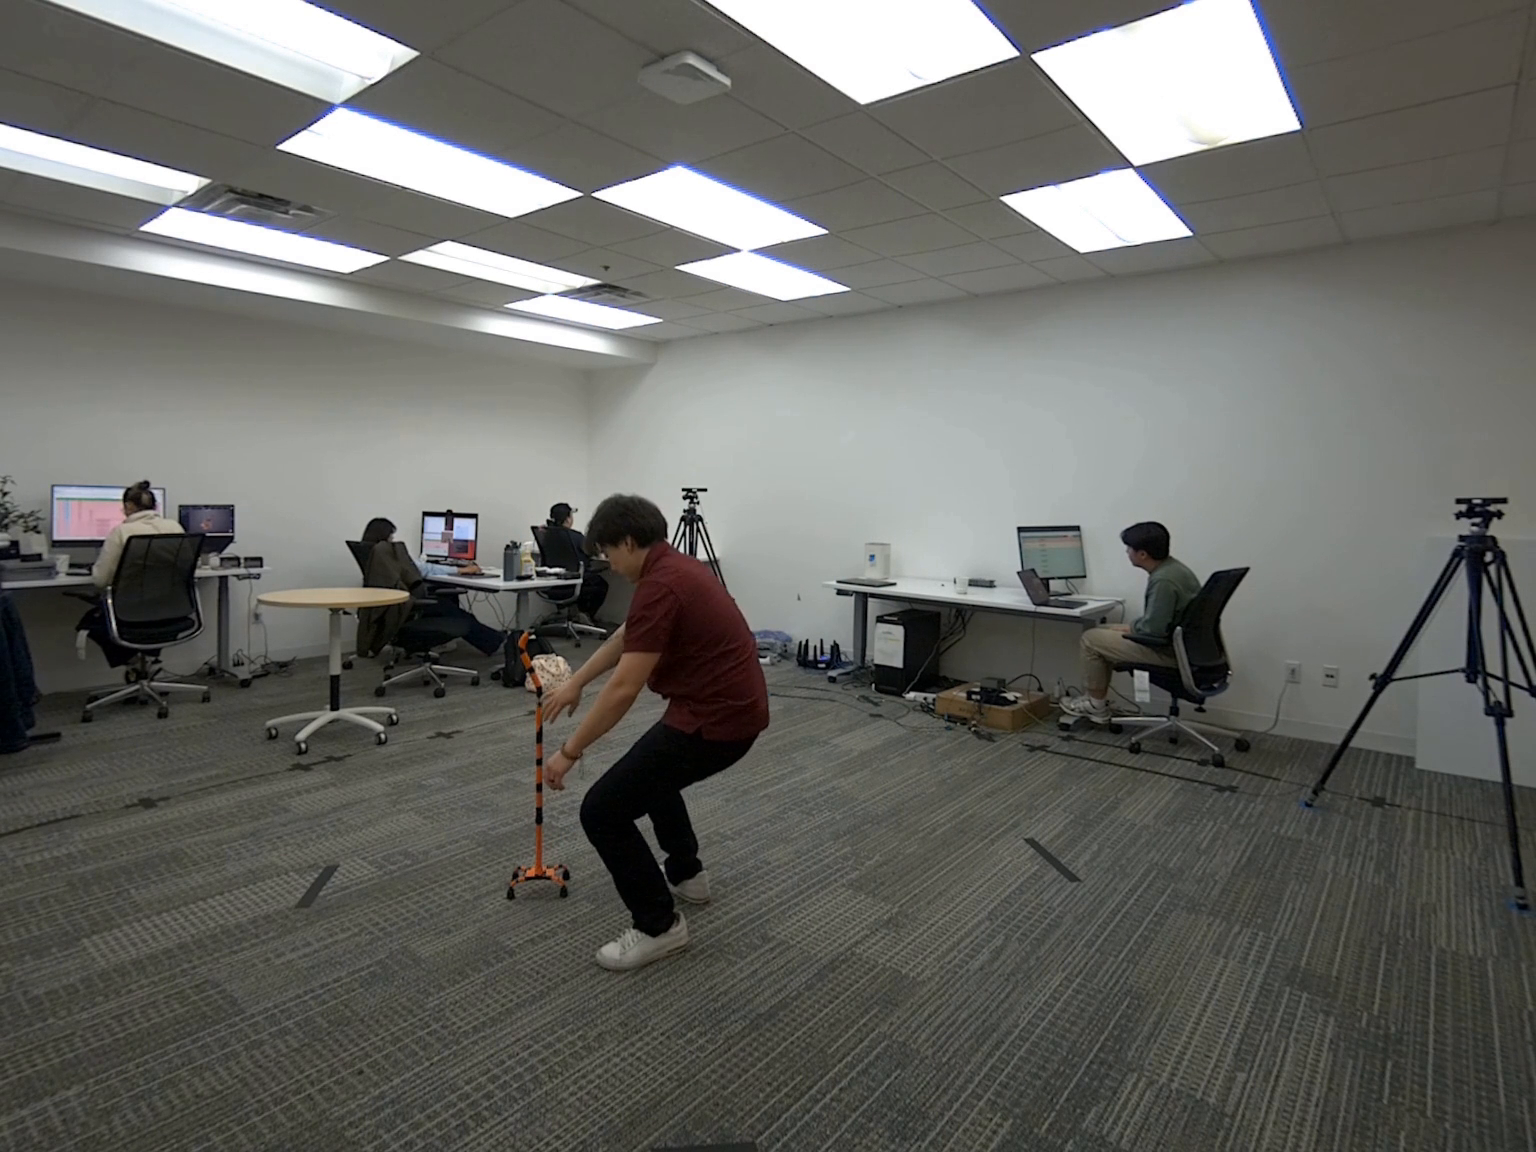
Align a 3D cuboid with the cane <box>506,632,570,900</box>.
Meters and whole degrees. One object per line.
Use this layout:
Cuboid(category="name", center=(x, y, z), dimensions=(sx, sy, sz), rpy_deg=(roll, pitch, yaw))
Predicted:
Cuboid(category="cane", center=(-0.797, 0.628, 2.914), dimensions=(0.205, 0.905, 0.153), rpy_deg=(1, 3, -8))
